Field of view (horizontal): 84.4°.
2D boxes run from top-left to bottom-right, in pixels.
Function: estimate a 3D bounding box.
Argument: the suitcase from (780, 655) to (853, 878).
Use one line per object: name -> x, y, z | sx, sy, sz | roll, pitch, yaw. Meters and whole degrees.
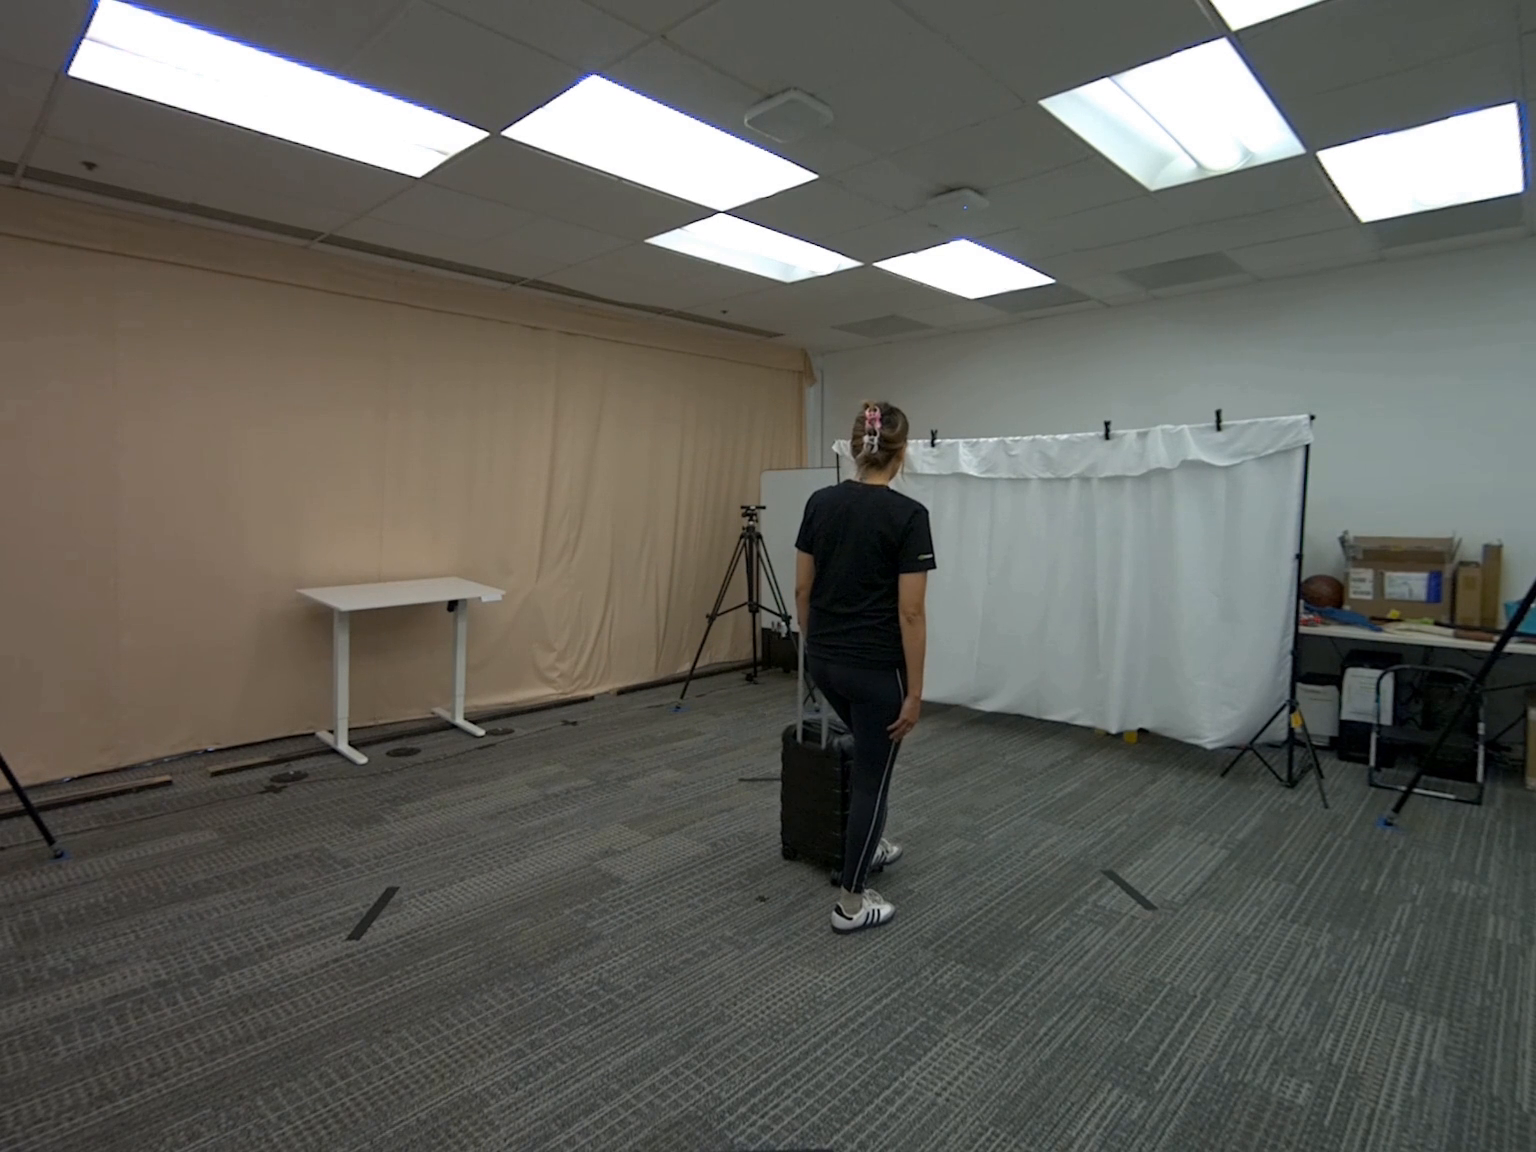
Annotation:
suitcase -> 0.245, 0.641, 3.272 | 0.249, 0.978, 0.396 | 0, 2, -40
